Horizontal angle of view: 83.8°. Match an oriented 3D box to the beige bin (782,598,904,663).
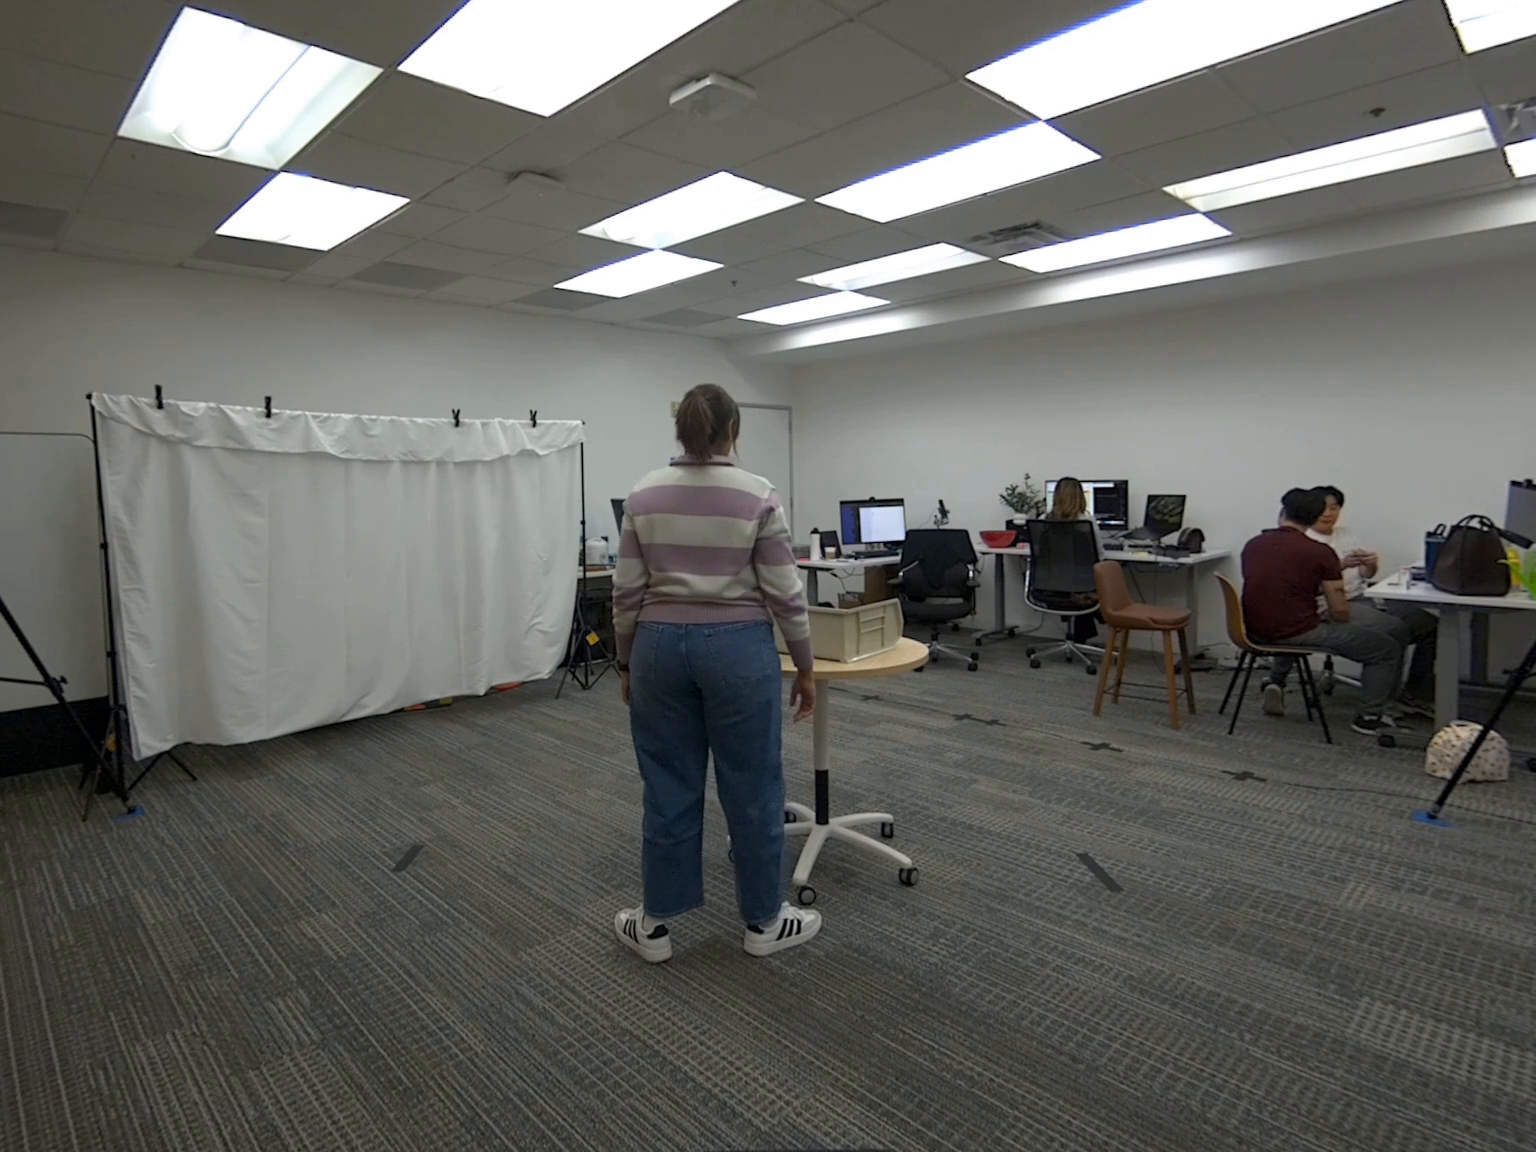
[{"bbox_3d":[0.206,0.172,3.059,0.435,0.188,0.368,4,9,38],"label":"beige bin"}]
